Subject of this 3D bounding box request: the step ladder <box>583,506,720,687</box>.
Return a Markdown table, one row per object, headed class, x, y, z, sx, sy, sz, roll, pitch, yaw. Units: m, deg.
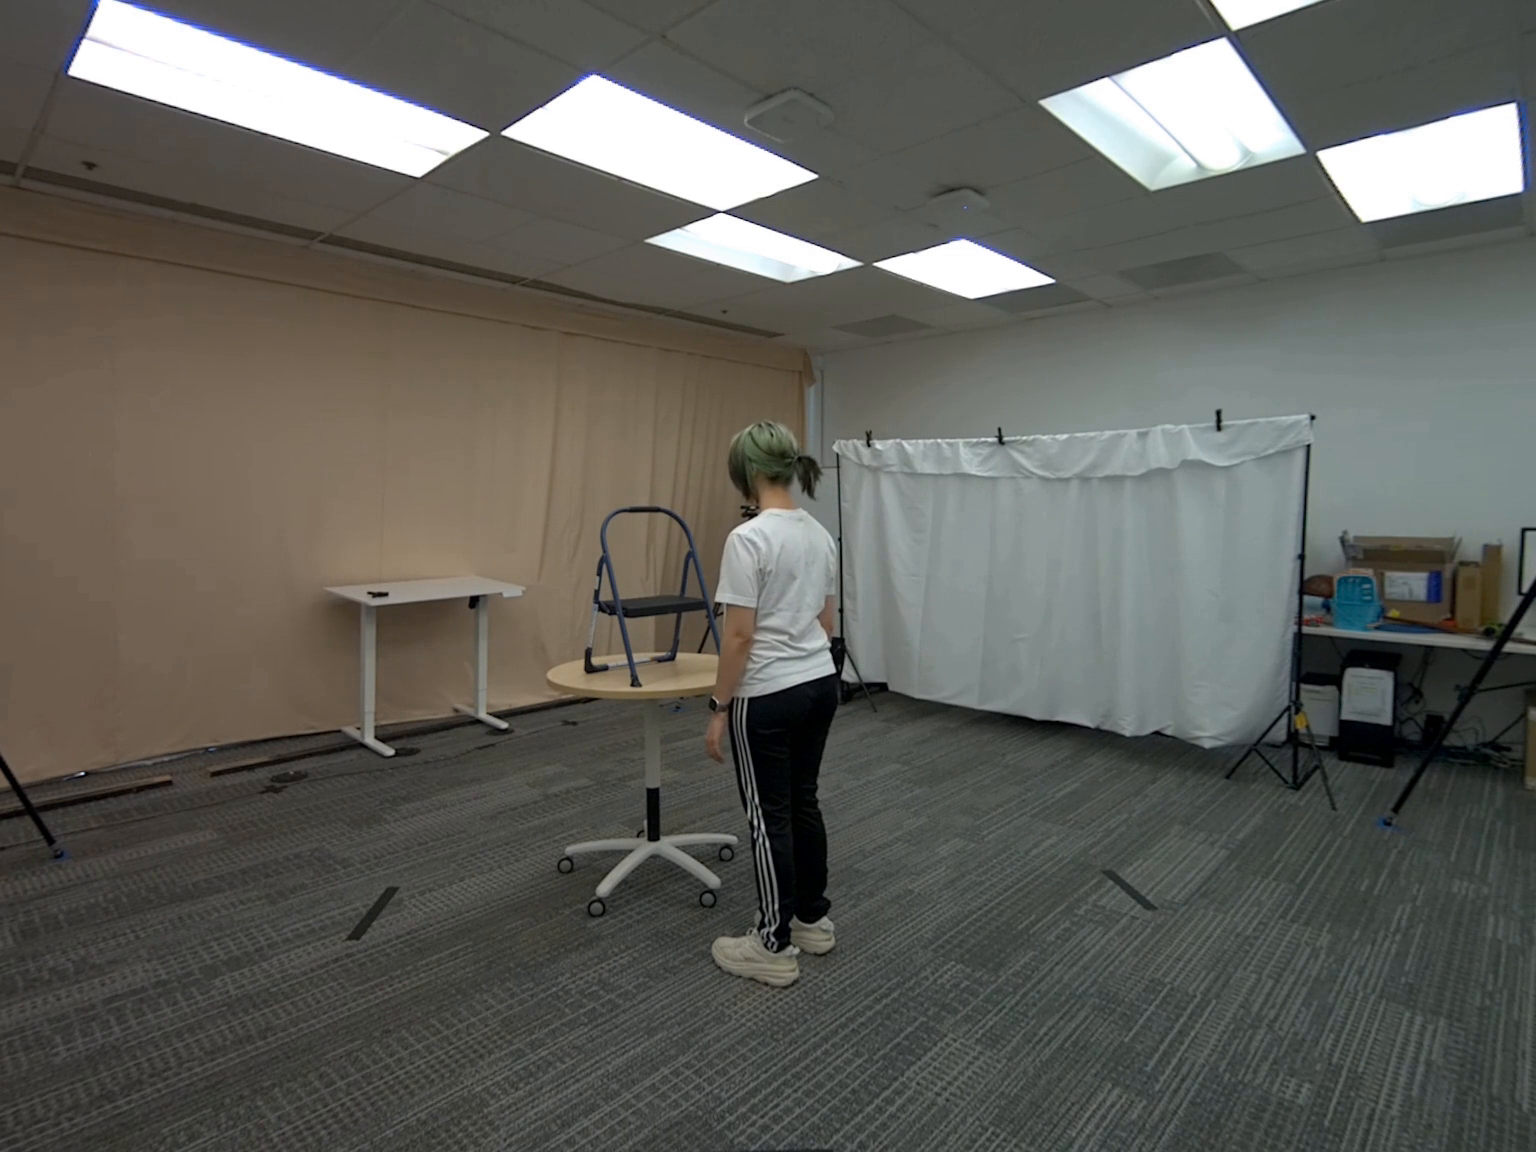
| class | x | y | z | sx | sy | sz | roll | pitch | yaw |
| --- | --- | --- | --- | --- | --- | --- | --- | --- | --- |
| step ladder | -0.416 | 0.053 | 3.075 | 0.417 | 0.605 | 0.361 | -3 | 4 | -42 |
